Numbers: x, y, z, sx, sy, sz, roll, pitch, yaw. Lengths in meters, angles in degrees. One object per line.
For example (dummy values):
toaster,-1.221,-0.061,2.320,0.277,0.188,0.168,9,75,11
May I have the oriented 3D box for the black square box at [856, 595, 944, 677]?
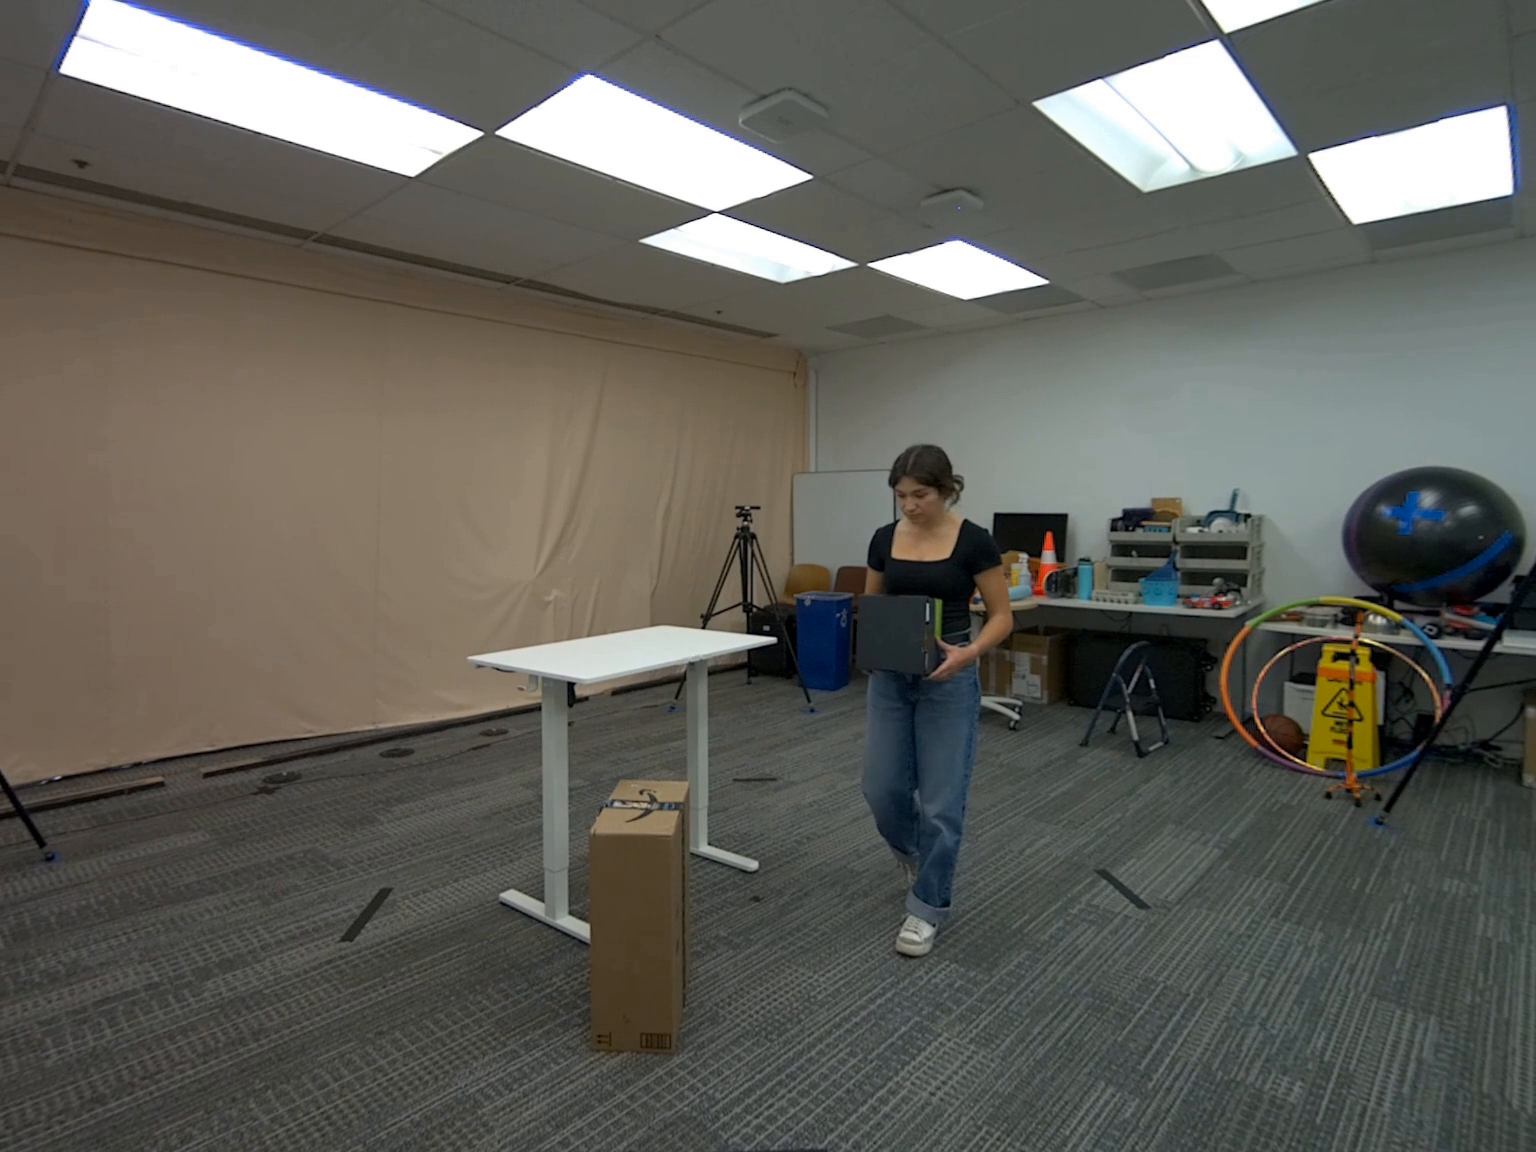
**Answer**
black square box,0.400,0.173,2.539,0.223,0.228,0.151,0,-4,29
